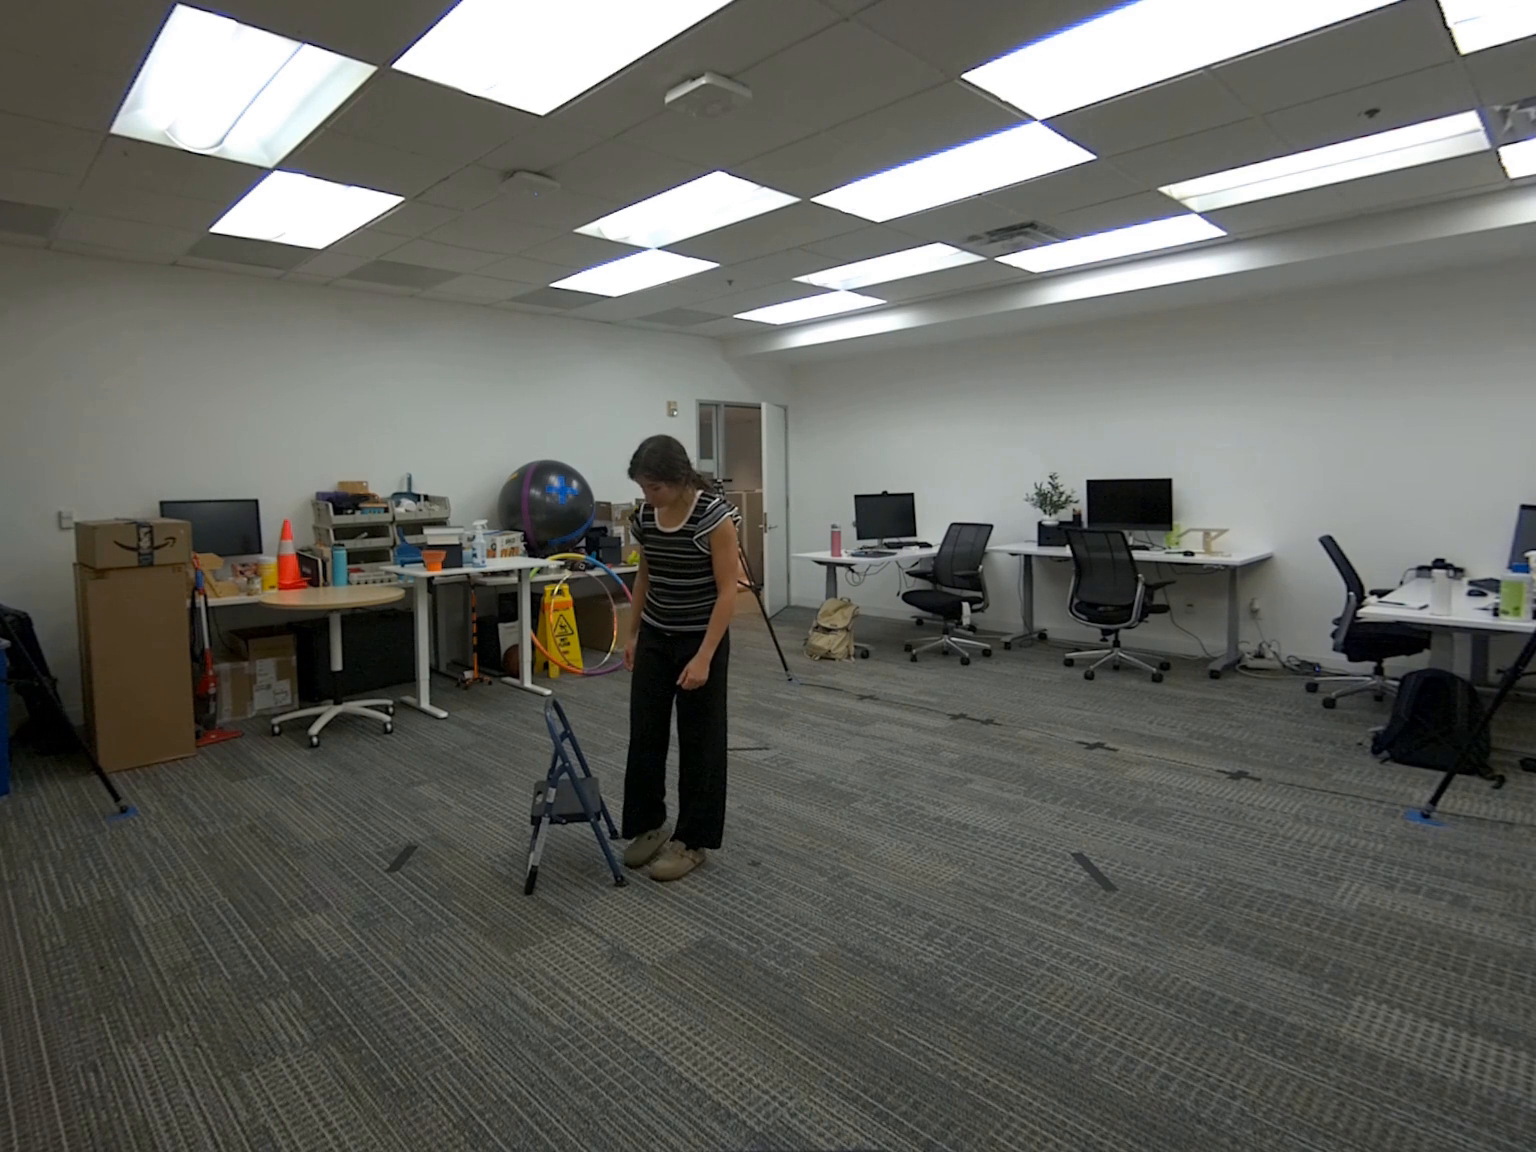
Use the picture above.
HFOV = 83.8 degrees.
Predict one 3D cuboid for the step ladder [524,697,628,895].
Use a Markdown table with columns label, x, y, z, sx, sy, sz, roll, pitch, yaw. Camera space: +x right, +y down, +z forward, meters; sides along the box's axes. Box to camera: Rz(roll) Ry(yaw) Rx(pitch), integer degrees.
| label | x | y | z | sx | sy | sz | roll | pitch | yaw |
| --- | --- | --- | --- | --- | --- | --- | --- | --- | --- |
| step ladder | -0.707 | 0.757 | 3.110 | 0.345 | 0.604 | 0.437 | -2 | 4 | -12 |
